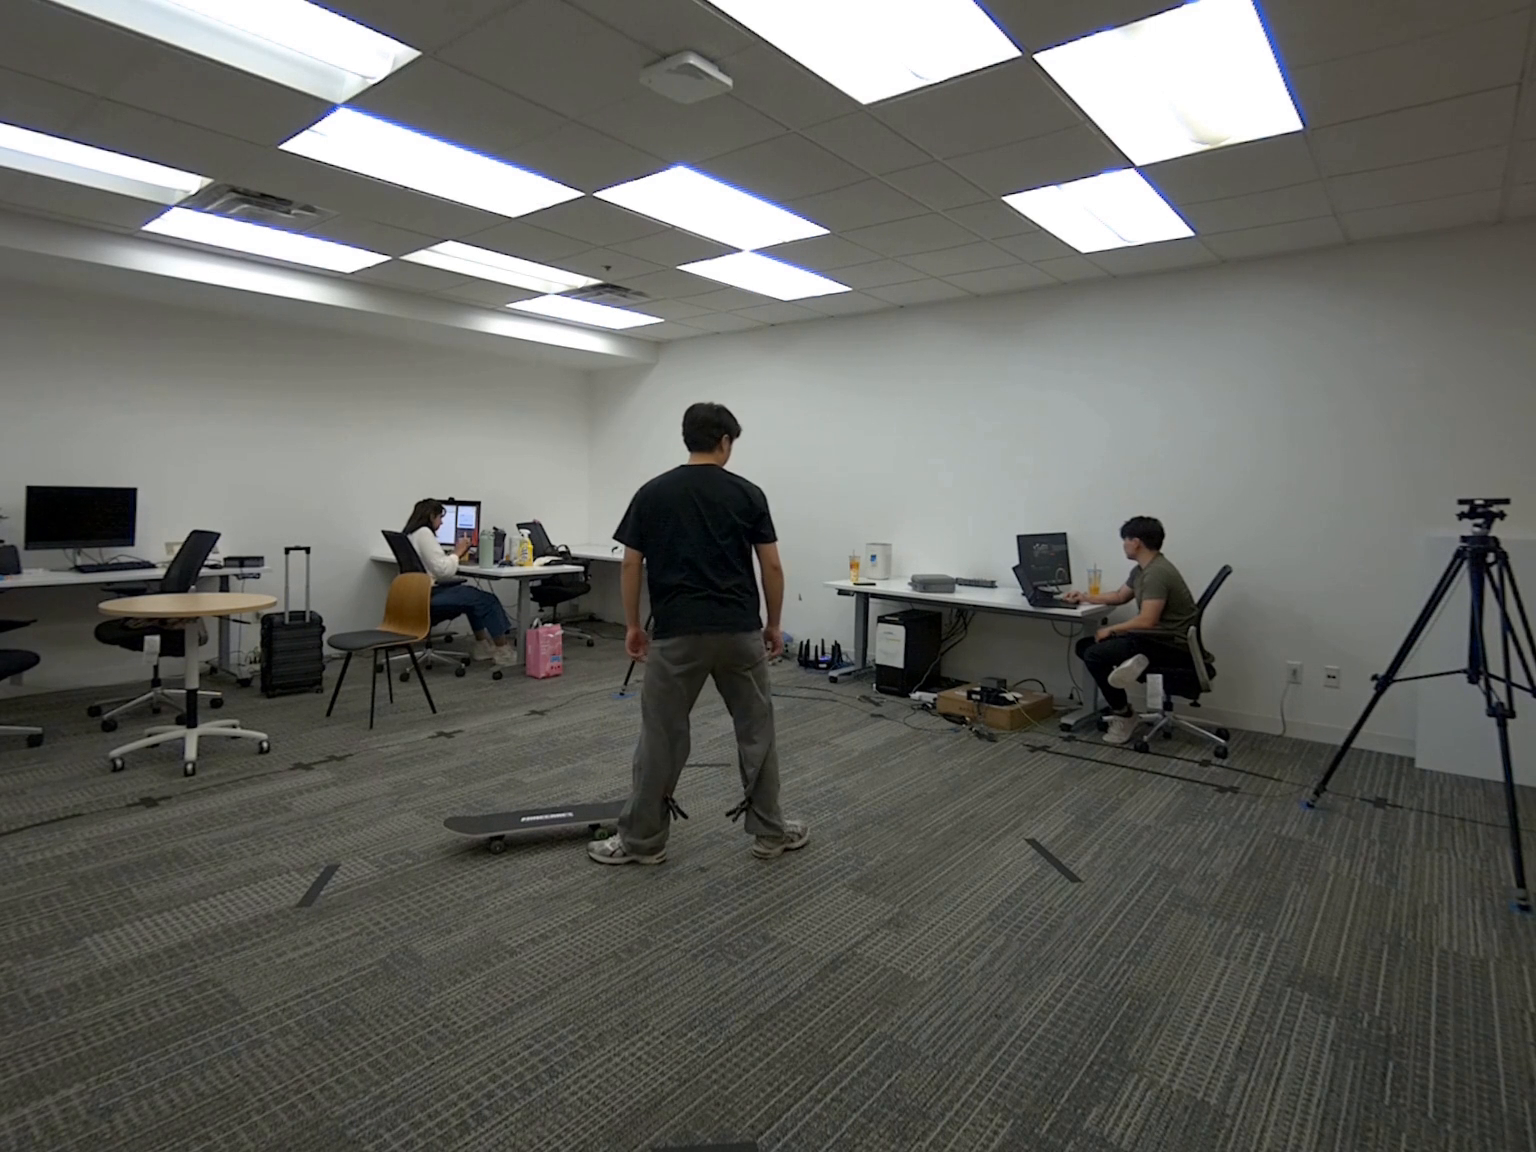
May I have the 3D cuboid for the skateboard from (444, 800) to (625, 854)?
[{"bbox_3d":[-0.884,0.980,3.353,0.770,0.110,0.198,-1,5,-20],"label":"skateboard"}]
